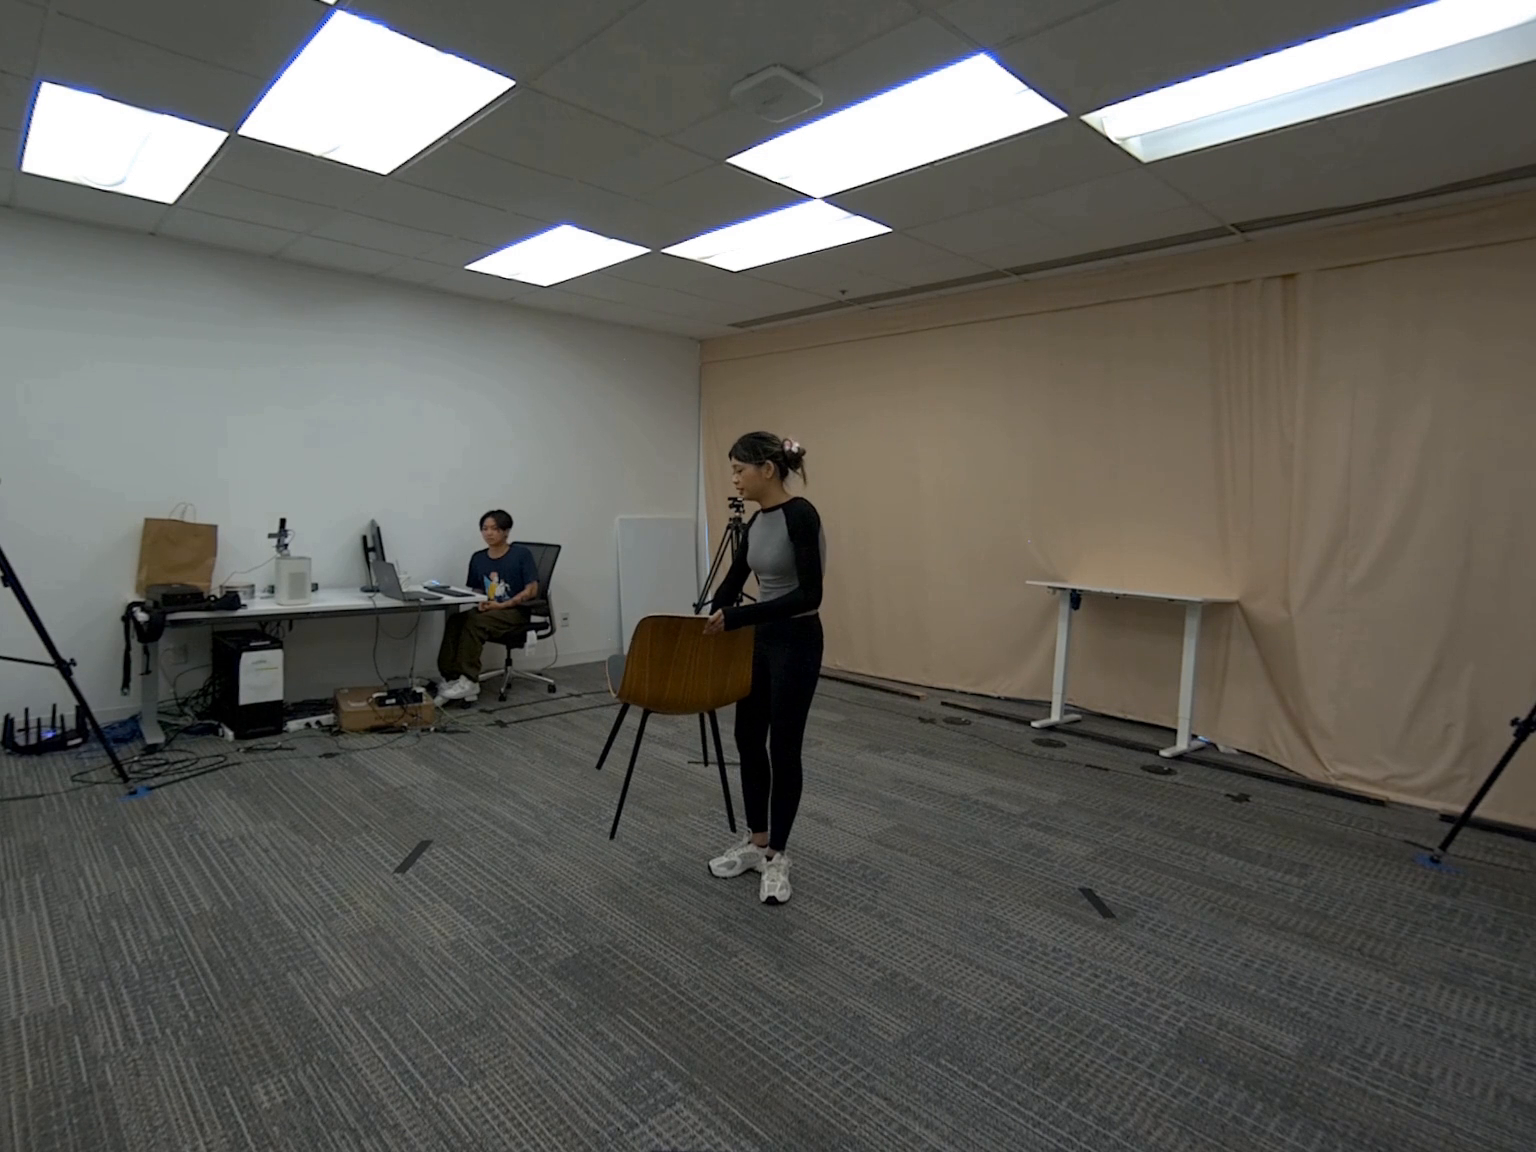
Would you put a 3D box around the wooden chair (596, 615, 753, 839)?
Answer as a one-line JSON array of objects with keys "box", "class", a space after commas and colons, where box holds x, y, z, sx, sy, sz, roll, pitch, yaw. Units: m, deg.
[{"box": [-0.350, 0.437, 3.023, 0.471, 0.867, 0.537, 2, 21, -18], "class": "wooden chair"}]
